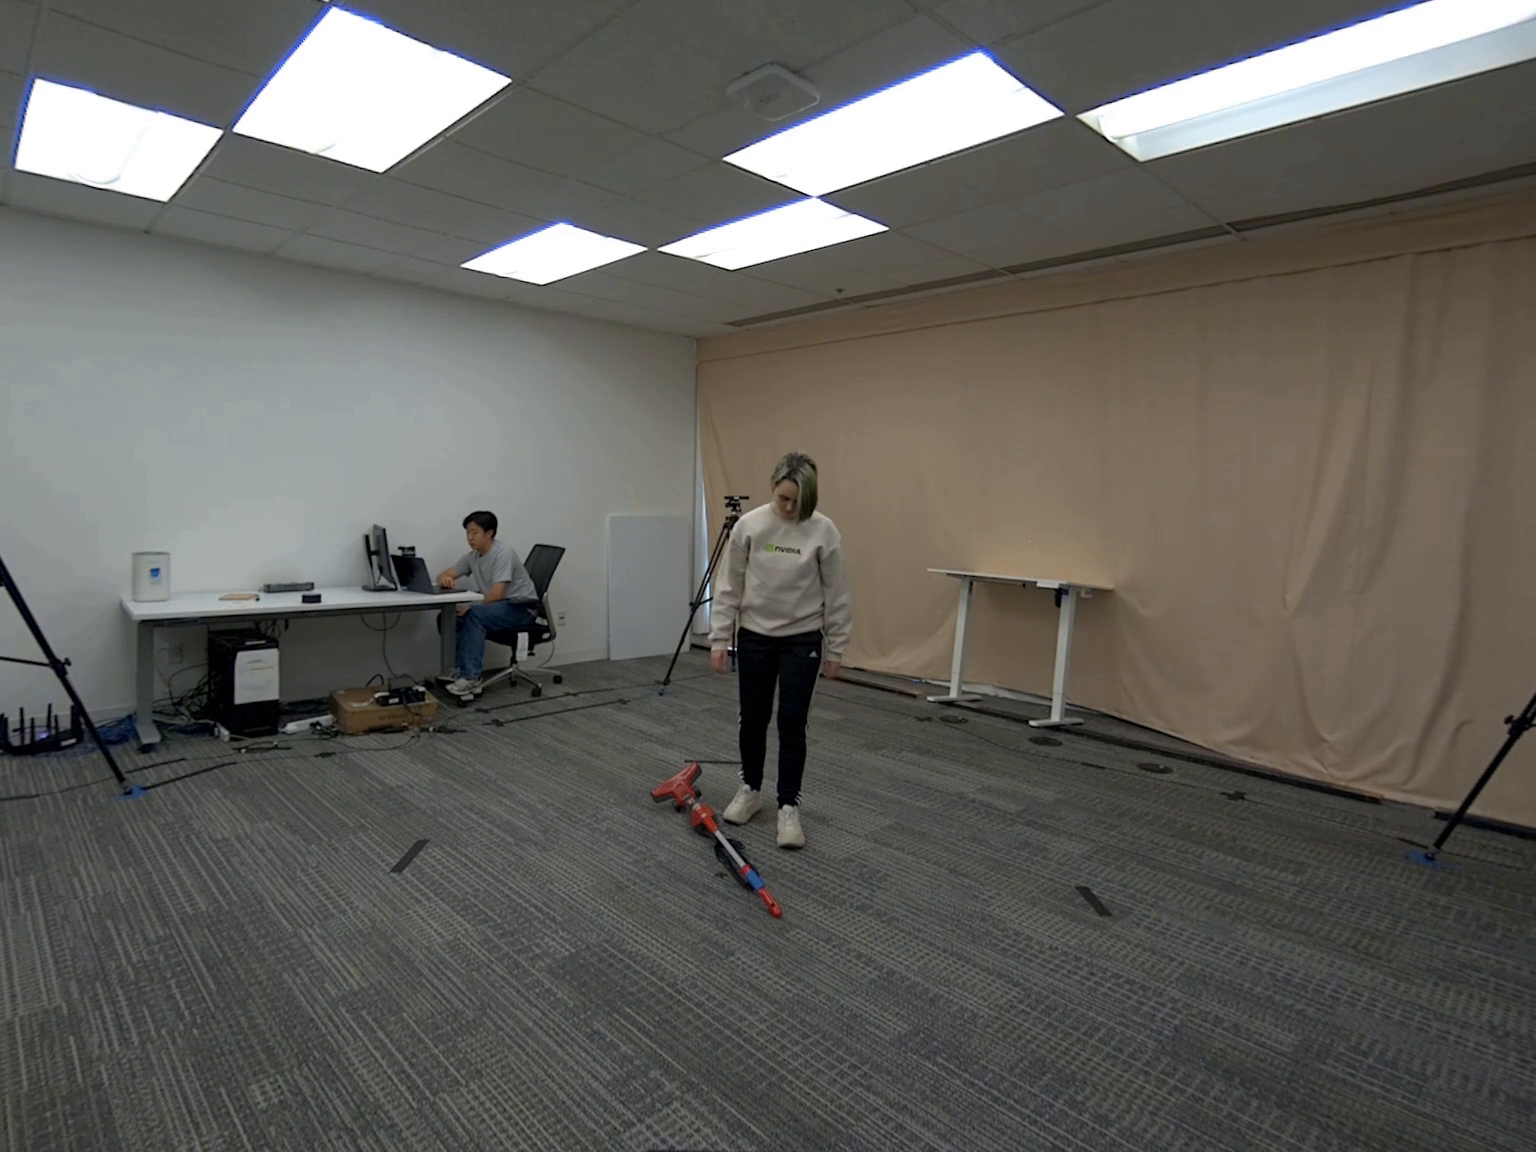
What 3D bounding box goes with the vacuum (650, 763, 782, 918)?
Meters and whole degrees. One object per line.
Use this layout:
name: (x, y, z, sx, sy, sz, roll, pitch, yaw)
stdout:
vacuum: (-0.190, 1.034, 3.282, 0.252, 0.141, 1.072, -34, 21, -14)
